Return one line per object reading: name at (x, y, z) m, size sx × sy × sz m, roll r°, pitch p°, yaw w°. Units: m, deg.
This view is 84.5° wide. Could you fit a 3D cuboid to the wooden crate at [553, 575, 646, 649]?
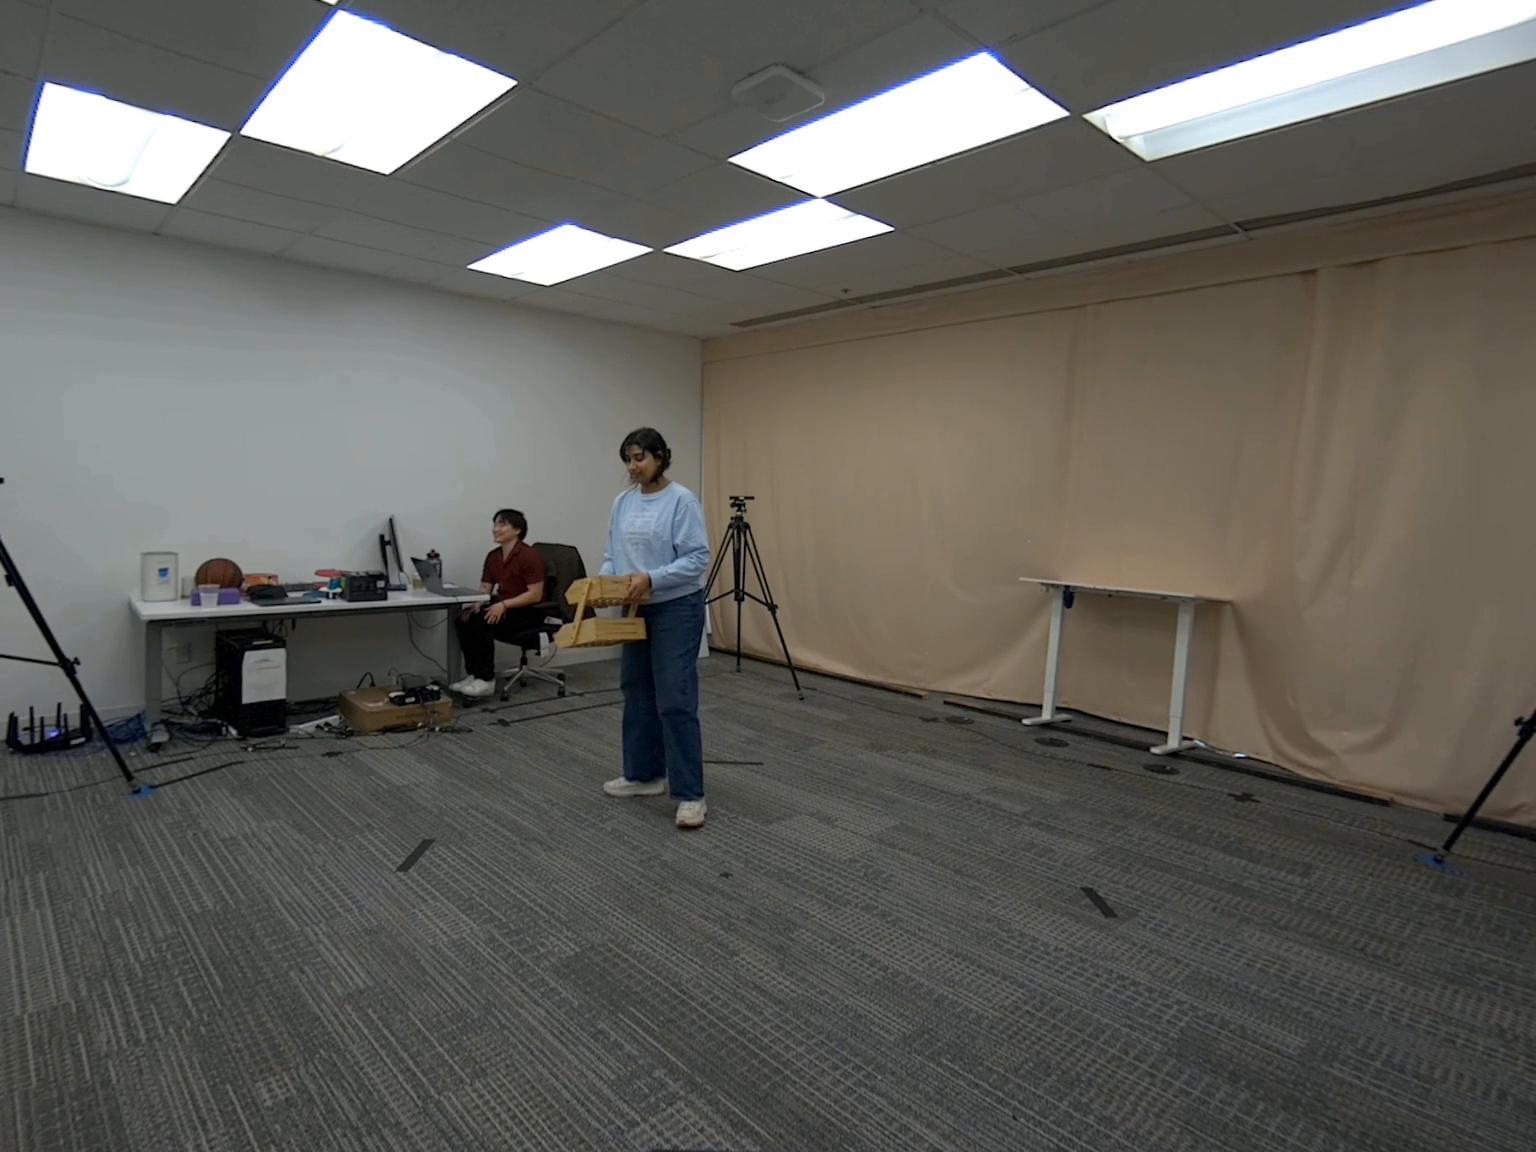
wooden crate at (-0.726, 0.152, 3.591) m, size 0.307 × 0.275 × 0.316 m, roll -13°, pitch -11°, yaw 33°
